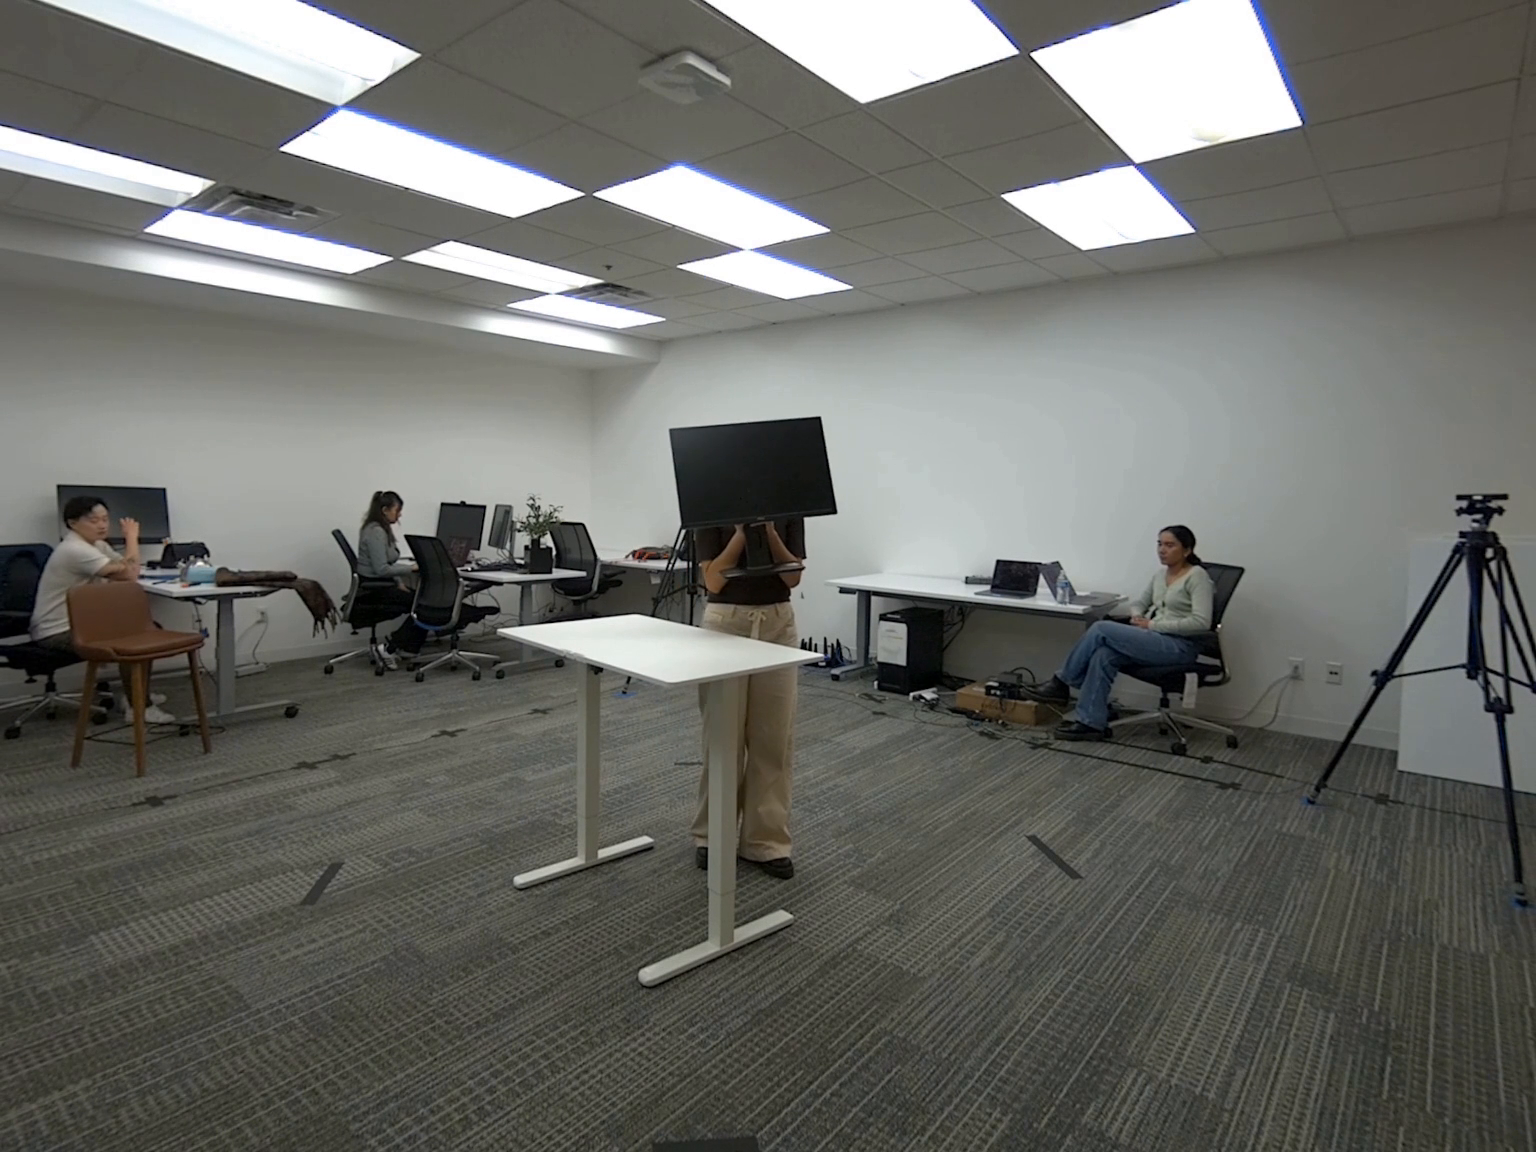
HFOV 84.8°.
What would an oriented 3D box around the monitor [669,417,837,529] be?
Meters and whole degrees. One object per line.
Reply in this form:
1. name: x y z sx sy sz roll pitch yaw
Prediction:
1. monitor: -0.058 -0.271 2.914 0.533 0.522 0.189 -6 1 -12
